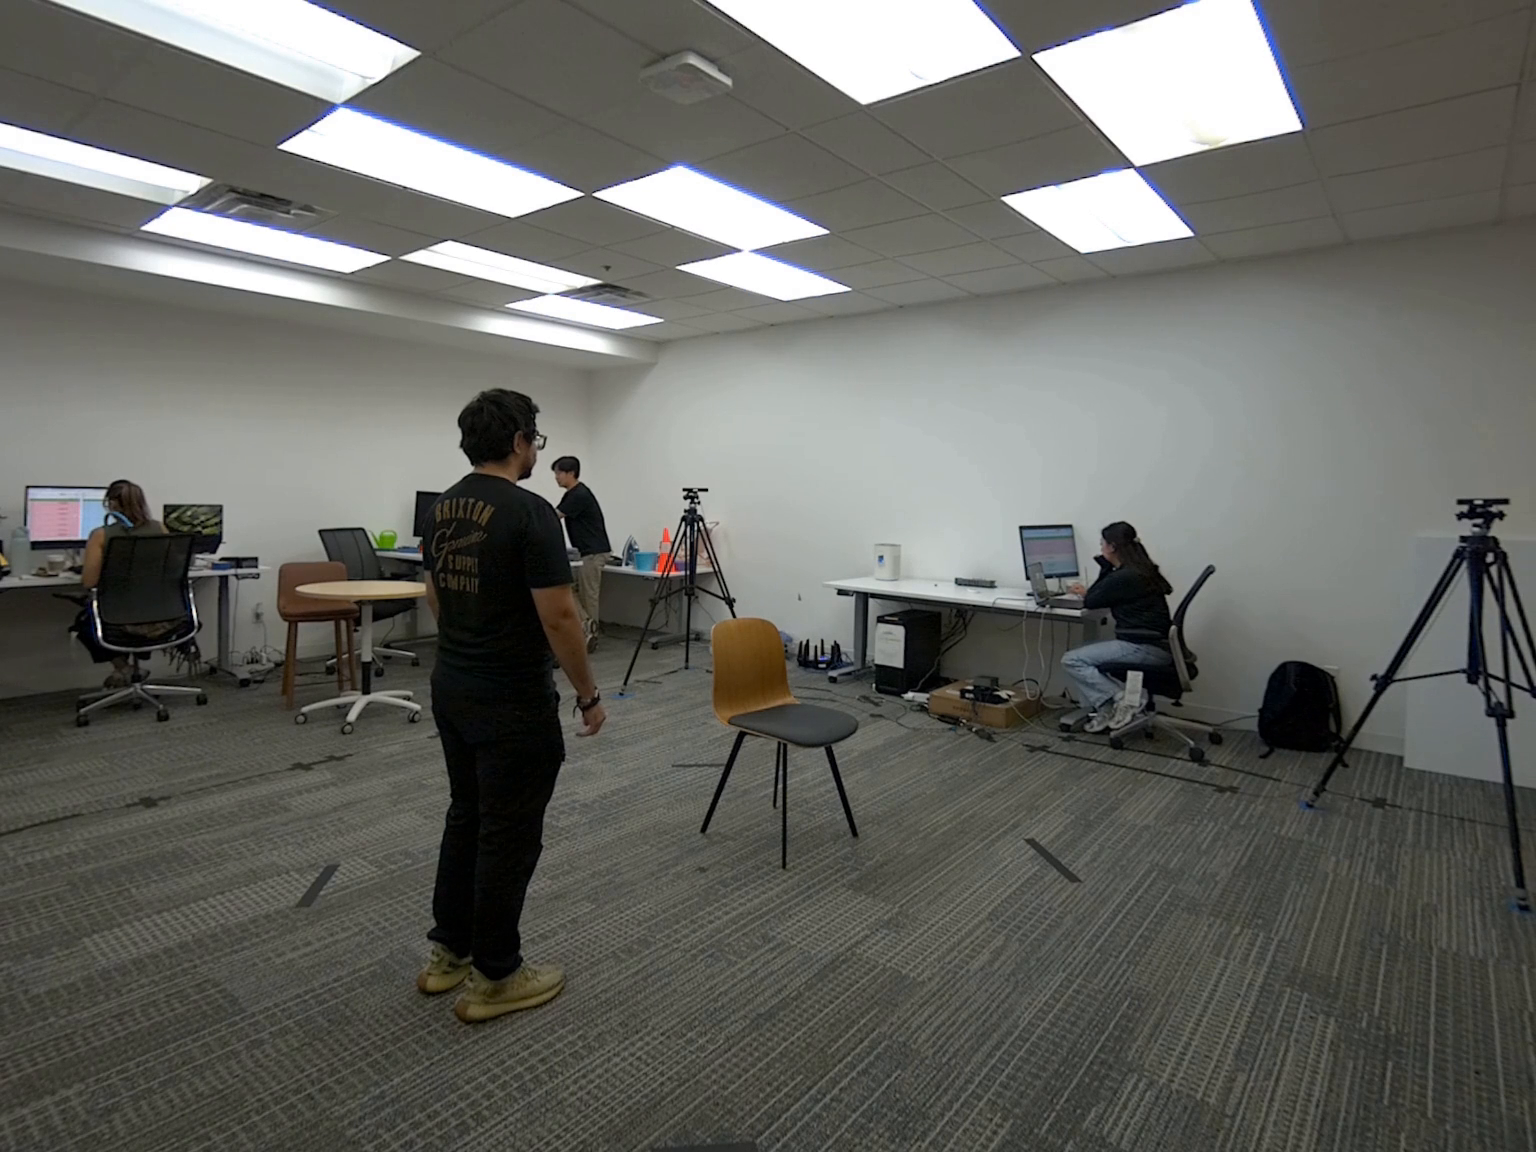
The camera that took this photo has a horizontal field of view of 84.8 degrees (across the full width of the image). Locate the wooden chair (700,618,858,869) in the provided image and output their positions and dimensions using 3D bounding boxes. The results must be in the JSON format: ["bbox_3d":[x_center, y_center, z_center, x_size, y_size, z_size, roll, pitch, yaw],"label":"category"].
[{"bbox_3d":[0.052,0.617,3.400,0.539,0.878,0.463,-2,0,44],"label":"wooden chair"}]
